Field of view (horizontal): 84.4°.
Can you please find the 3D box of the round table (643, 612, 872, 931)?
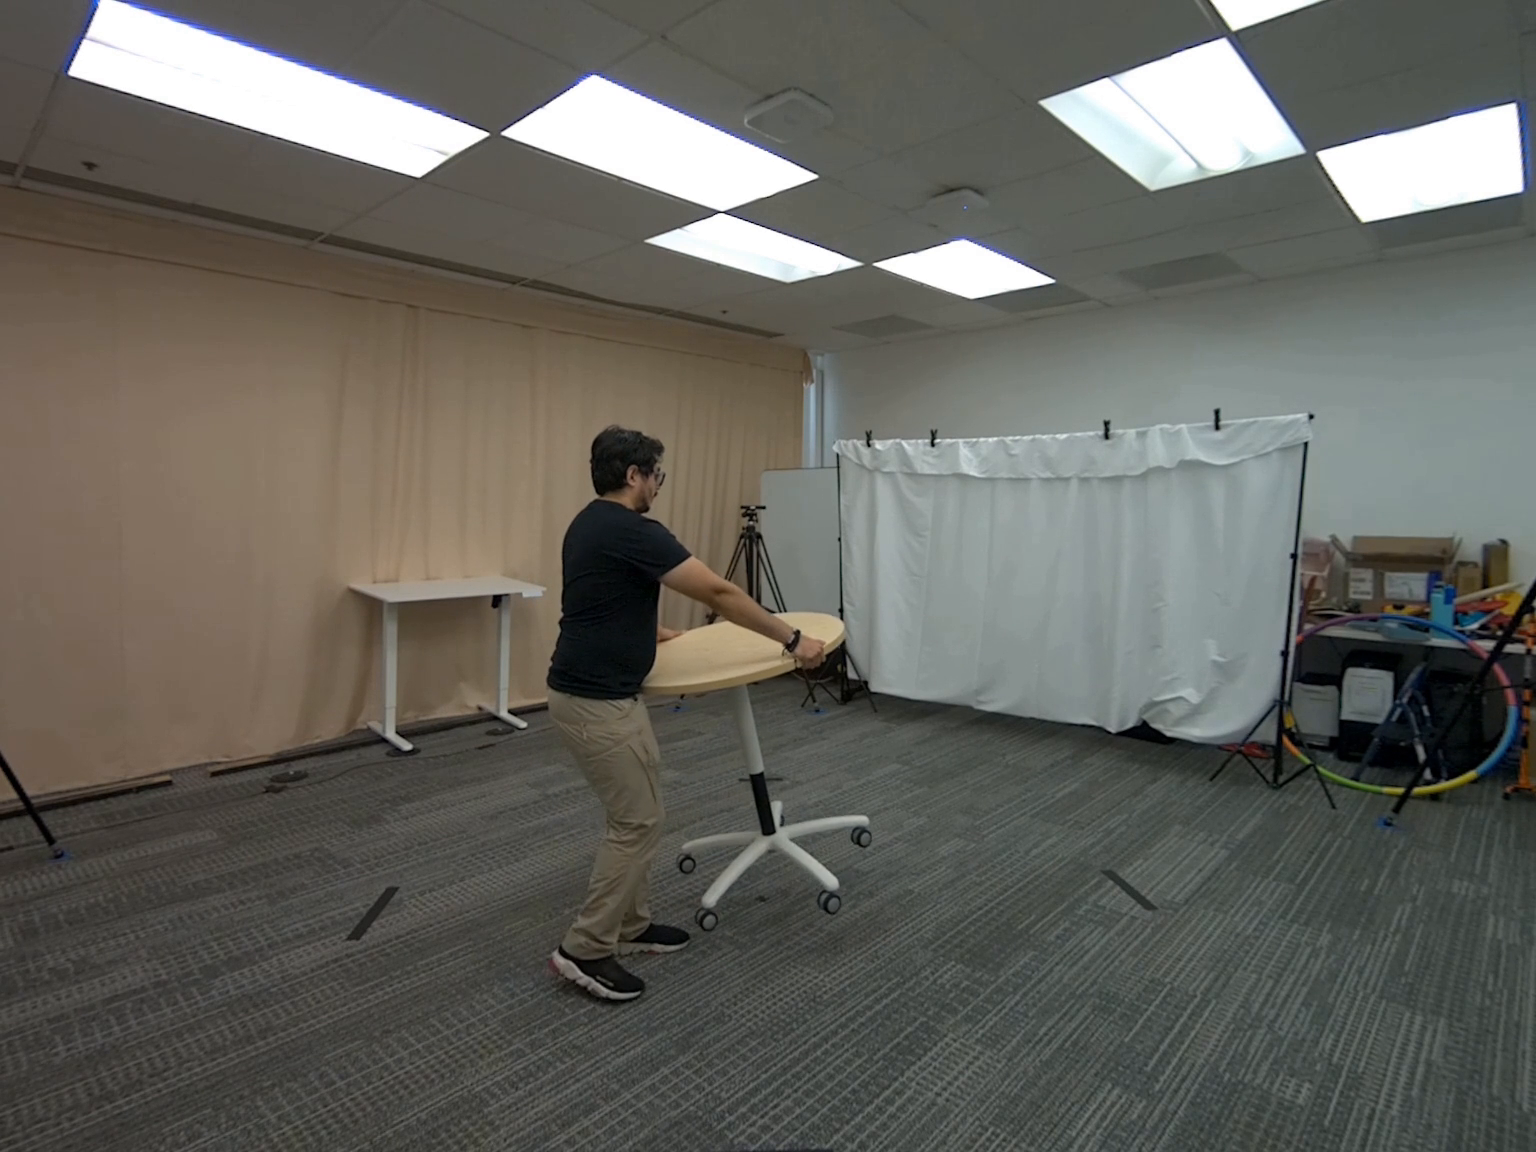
[{"bbox_3d":[-0.050,0.619,2.825,0.785,0.782,0.789,-11,7,0],"label":"round table"}]
